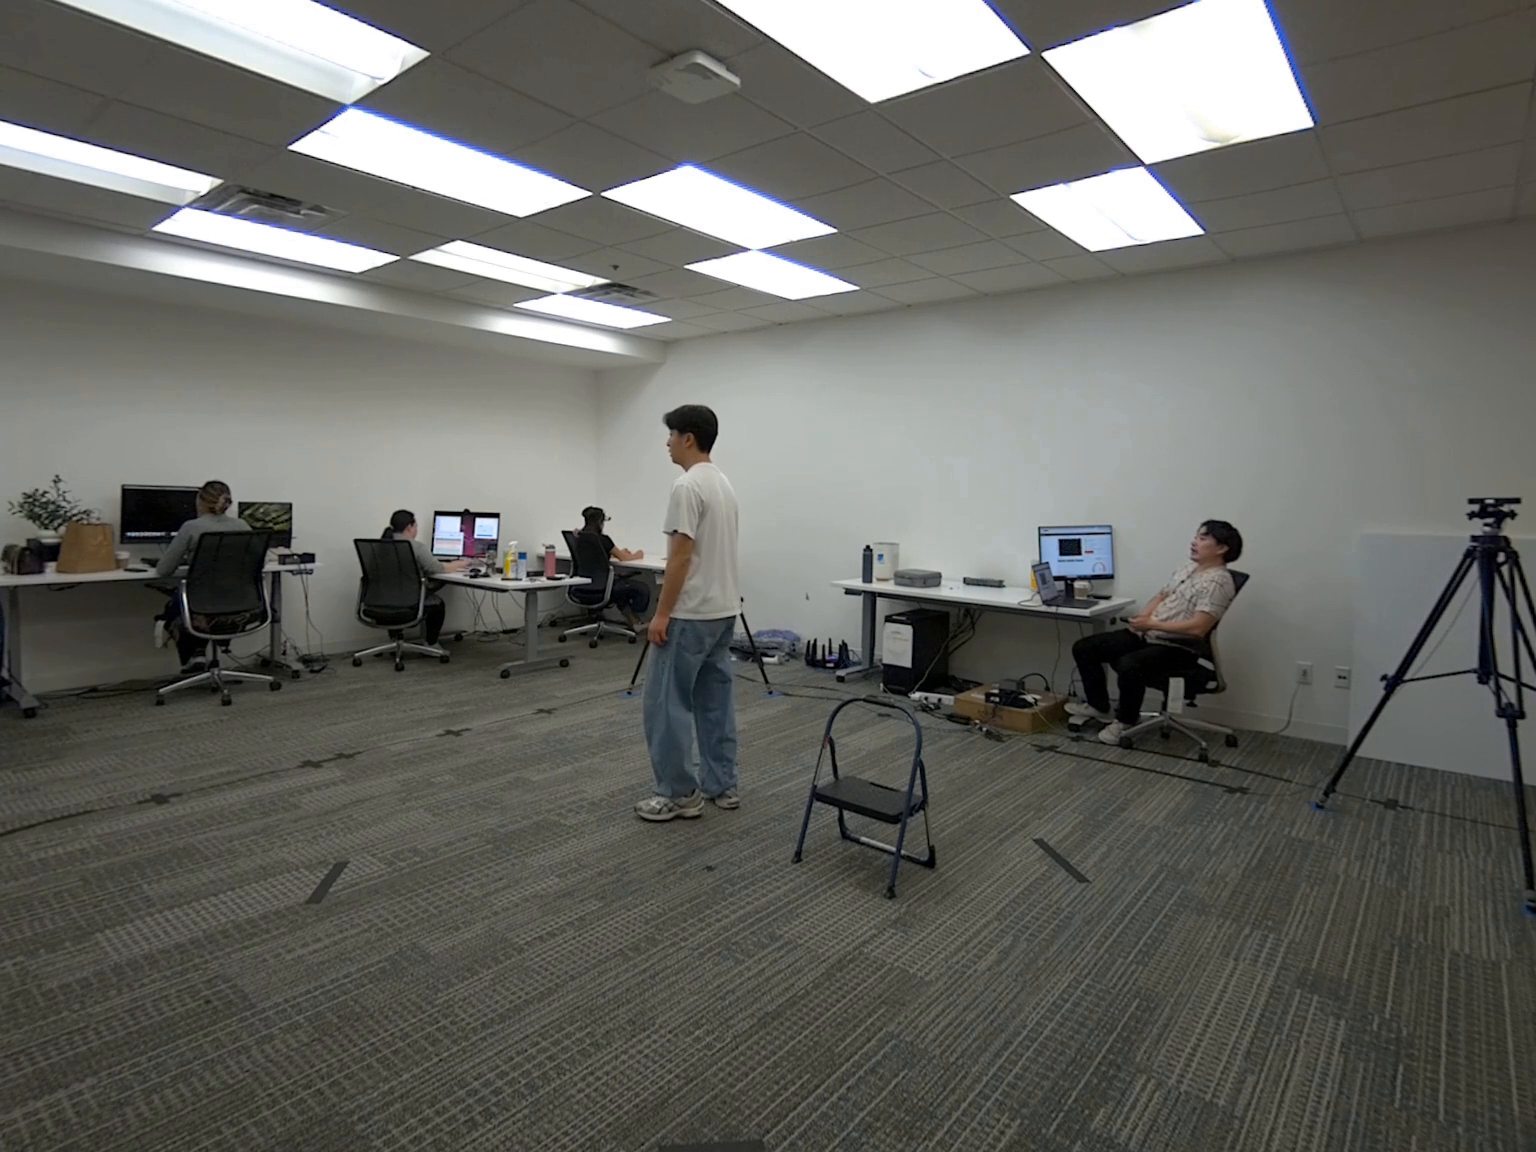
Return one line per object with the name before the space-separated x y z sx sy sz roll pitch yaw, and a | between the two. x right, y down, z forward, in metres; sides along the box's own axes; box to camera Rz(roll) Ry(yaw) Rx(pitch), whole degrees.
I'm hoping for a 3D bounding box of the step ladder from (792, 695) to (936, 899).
step ladder | 0.360 0.769 3.157 0.445 0.604 0.339 5 5 39
